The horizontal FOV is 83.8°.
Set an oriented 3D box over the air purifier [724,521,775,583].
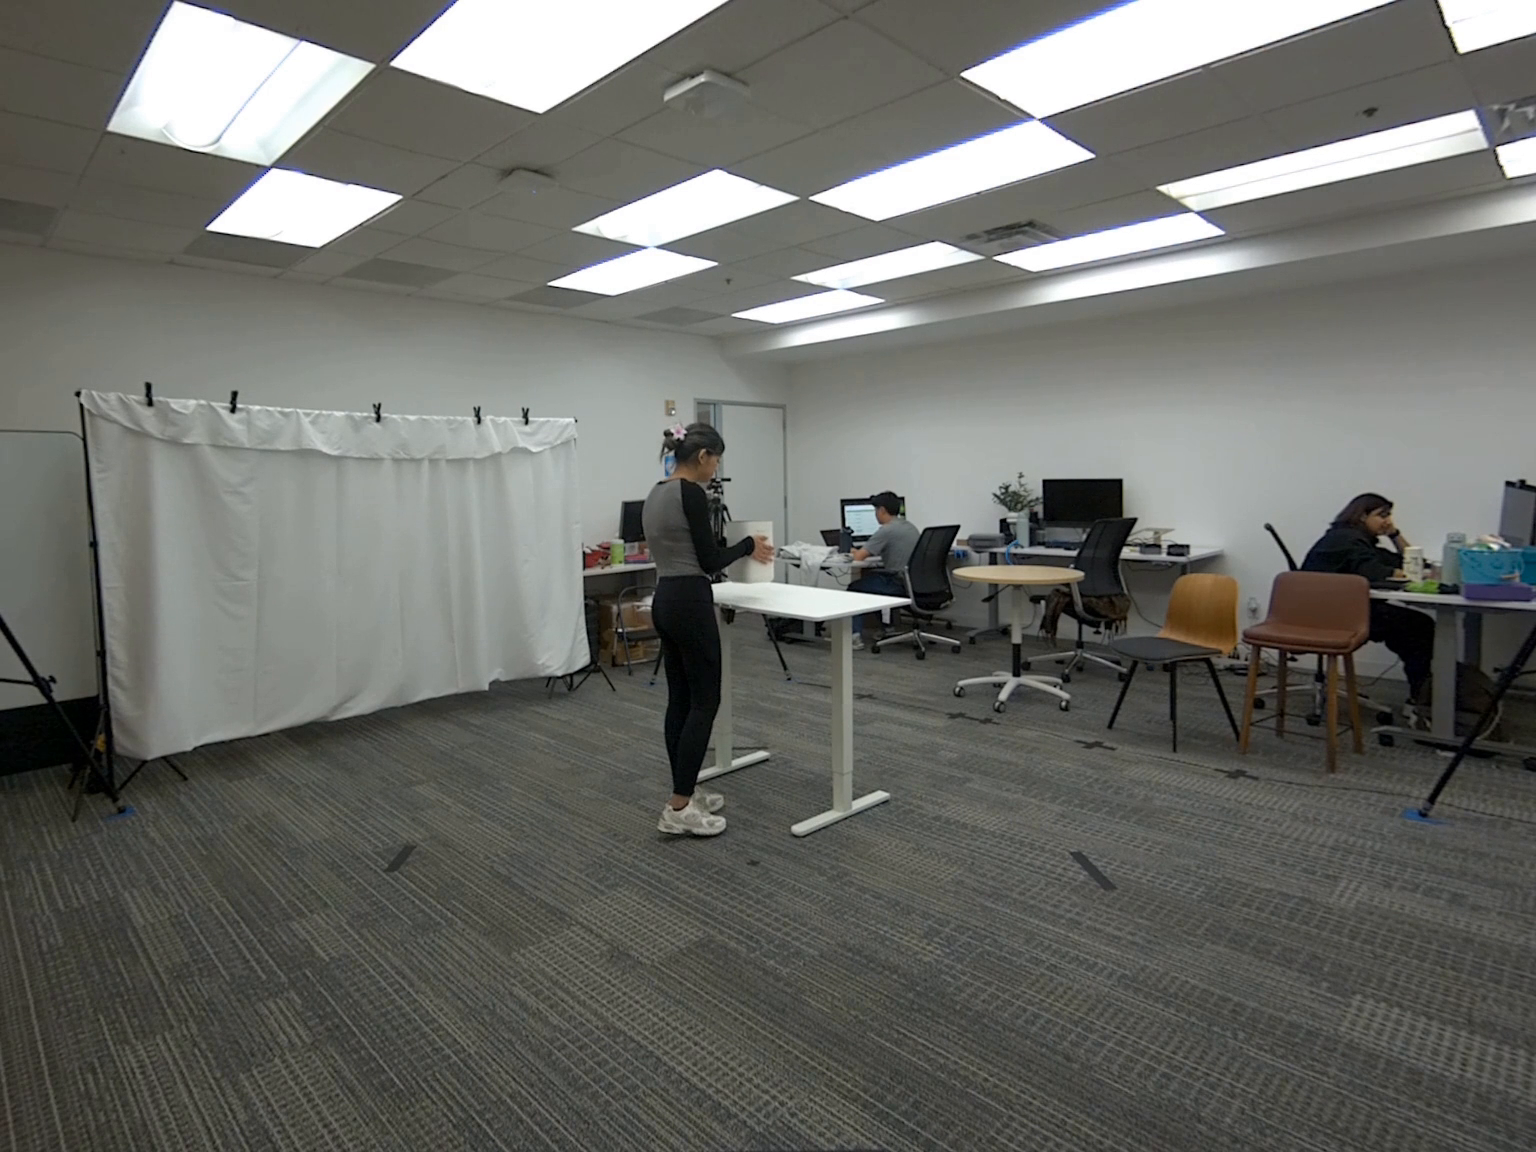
[{"bbox_3d":[-0.079,-0.103,3.654,0.166,0.265,0.176,-3,3,-36],"label":"air purifier"}]
